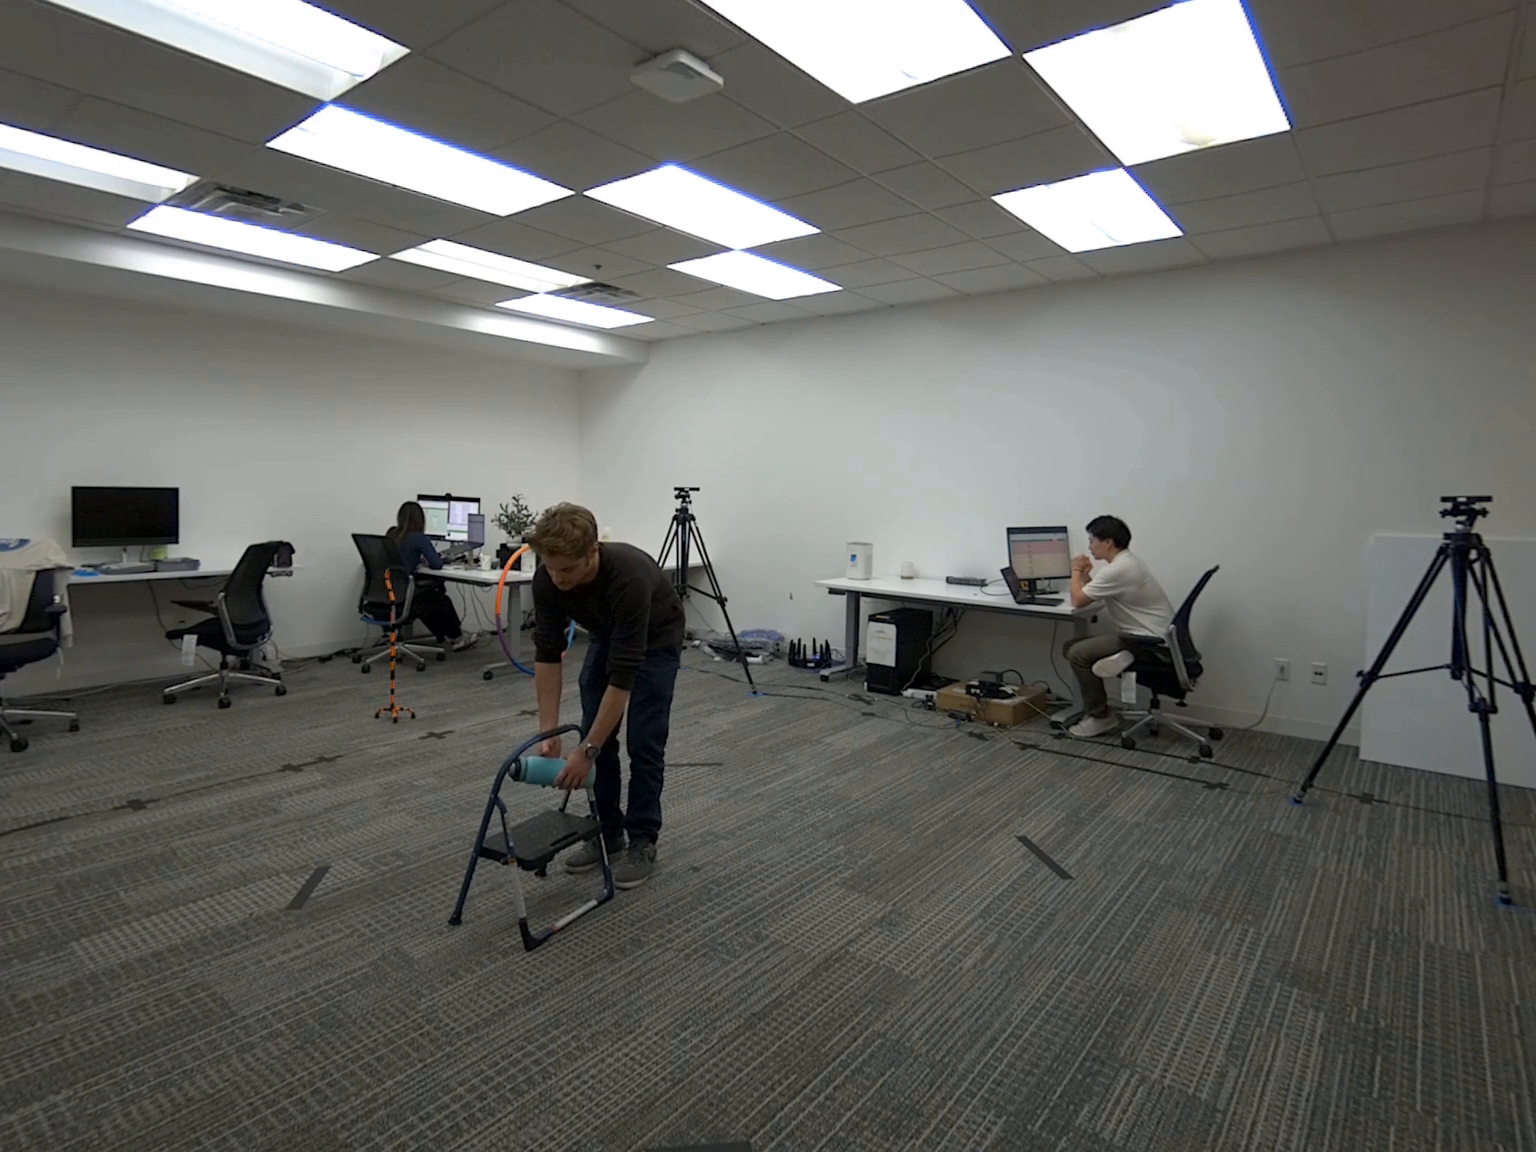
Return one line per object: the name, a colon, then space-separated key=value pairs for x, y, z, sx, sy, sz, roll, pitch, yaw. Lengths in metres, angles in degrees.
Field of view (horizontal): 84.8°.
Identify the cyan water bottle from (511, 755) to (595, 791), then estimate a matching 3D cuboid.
cyan water bottle: x=-0.730 y=0.652 z=2.788 sx=0.276 sy=0.092 sz=0.095 roll=9 pitch=0 yaw=-24
